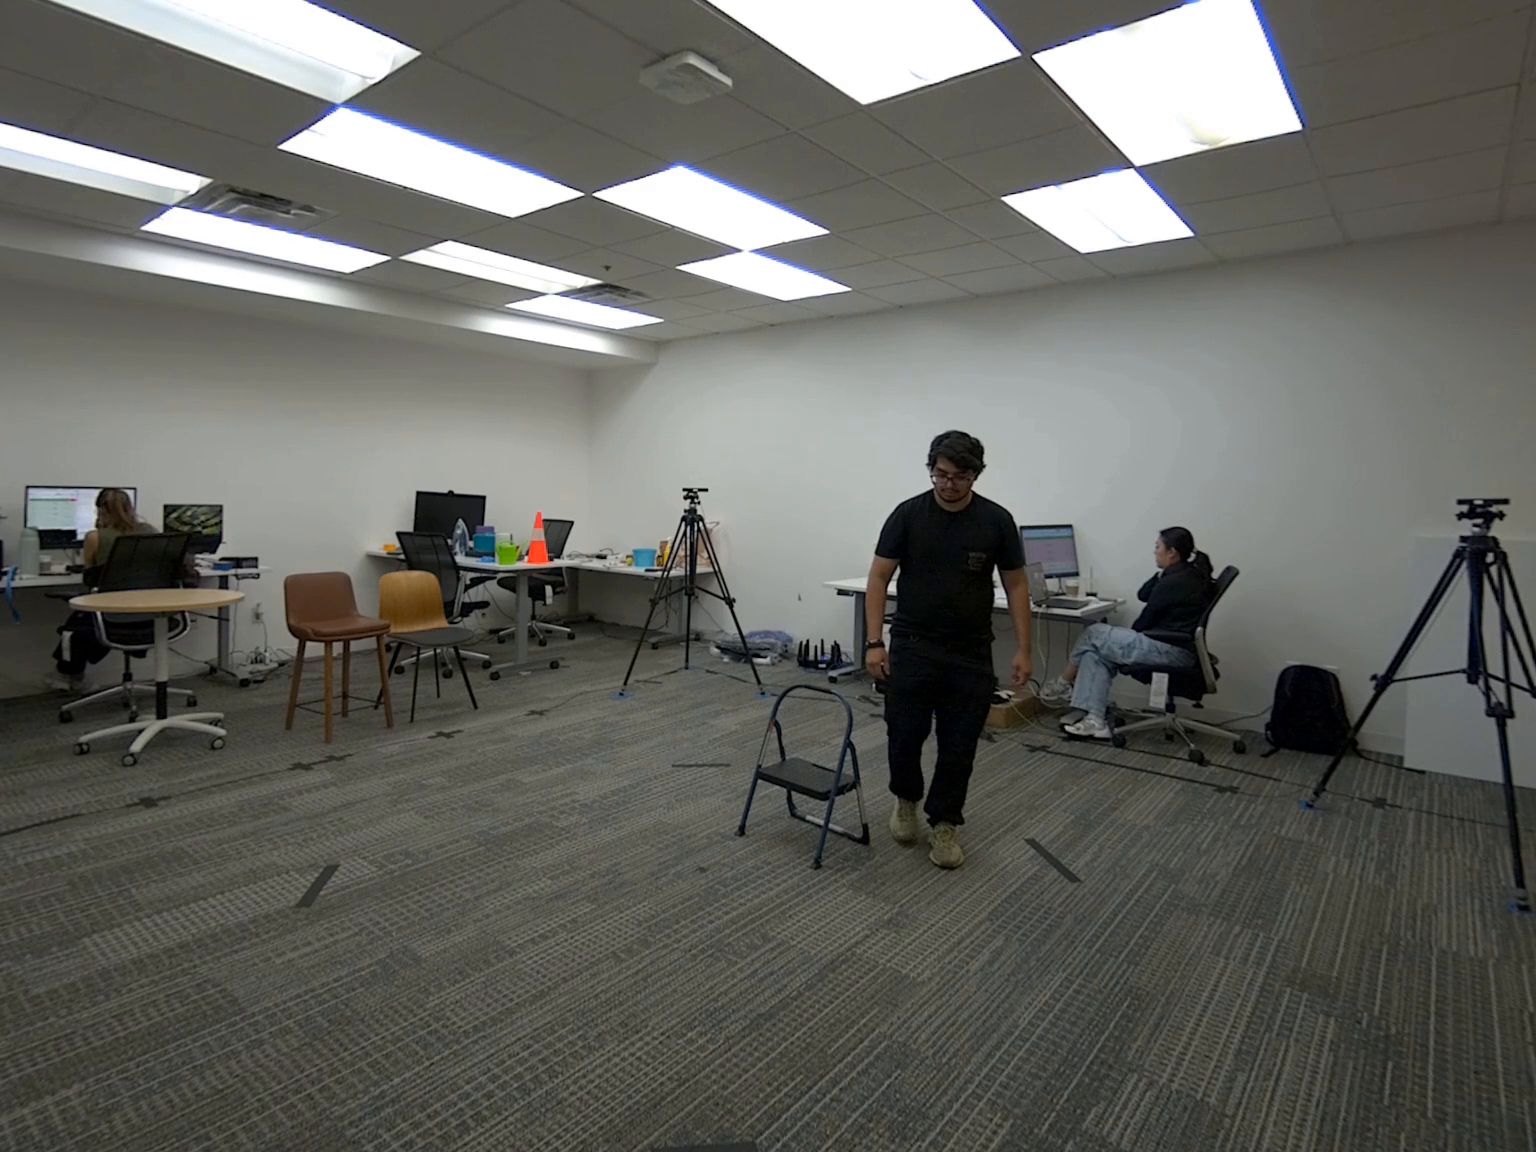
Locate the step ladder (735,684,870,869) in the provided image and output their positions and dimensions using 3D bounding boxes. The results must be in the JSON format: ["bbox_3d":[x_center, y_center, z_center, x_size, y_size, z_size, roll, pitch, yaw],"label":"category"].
[{"bbox_3d":[0.137,0.748,3.382,0.445,0.604,0.339,5,6,44],"label":"step ladder"}]
